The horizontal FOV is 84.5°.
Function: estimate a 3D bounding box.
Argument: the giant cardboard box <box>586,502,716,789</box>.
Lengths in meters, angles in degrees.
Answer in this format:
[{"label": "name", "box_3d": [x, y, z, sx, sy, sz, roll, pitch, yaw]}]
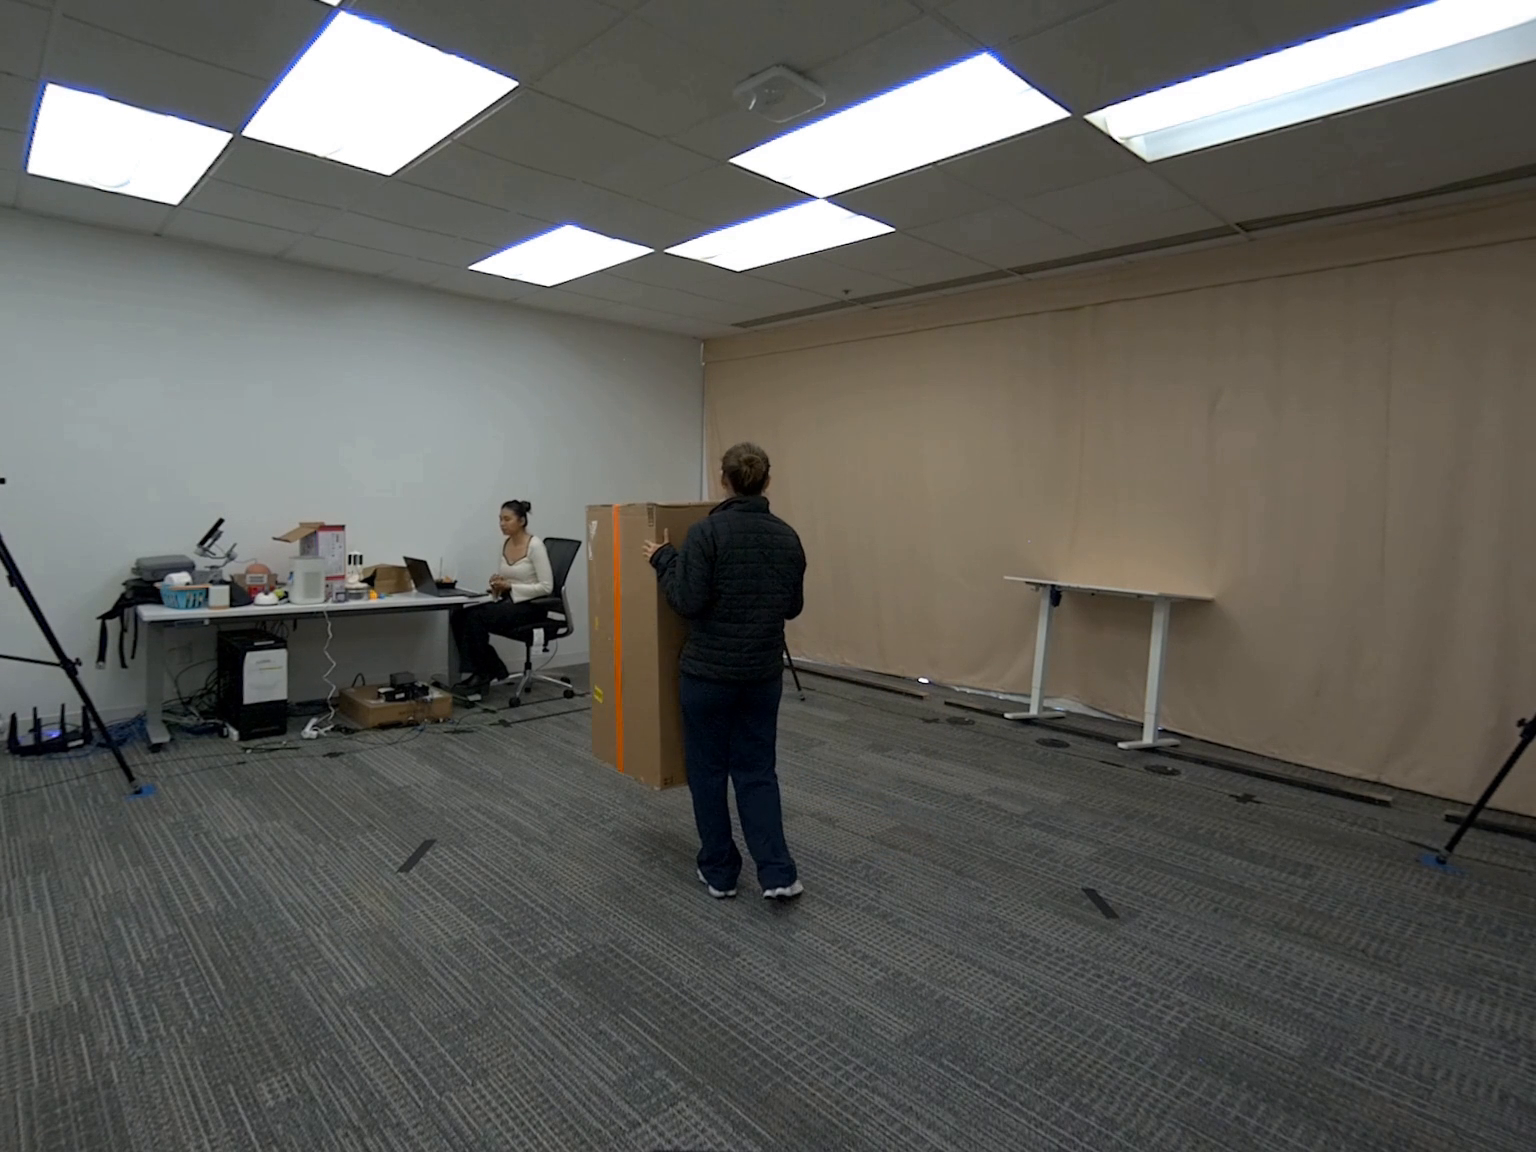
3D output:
[{"label": "giant cardboard box", "box_3d": [-0.389, 0.233, 3.289, 0.417, 1.024, 0.591, -2, 3, -35]}]
